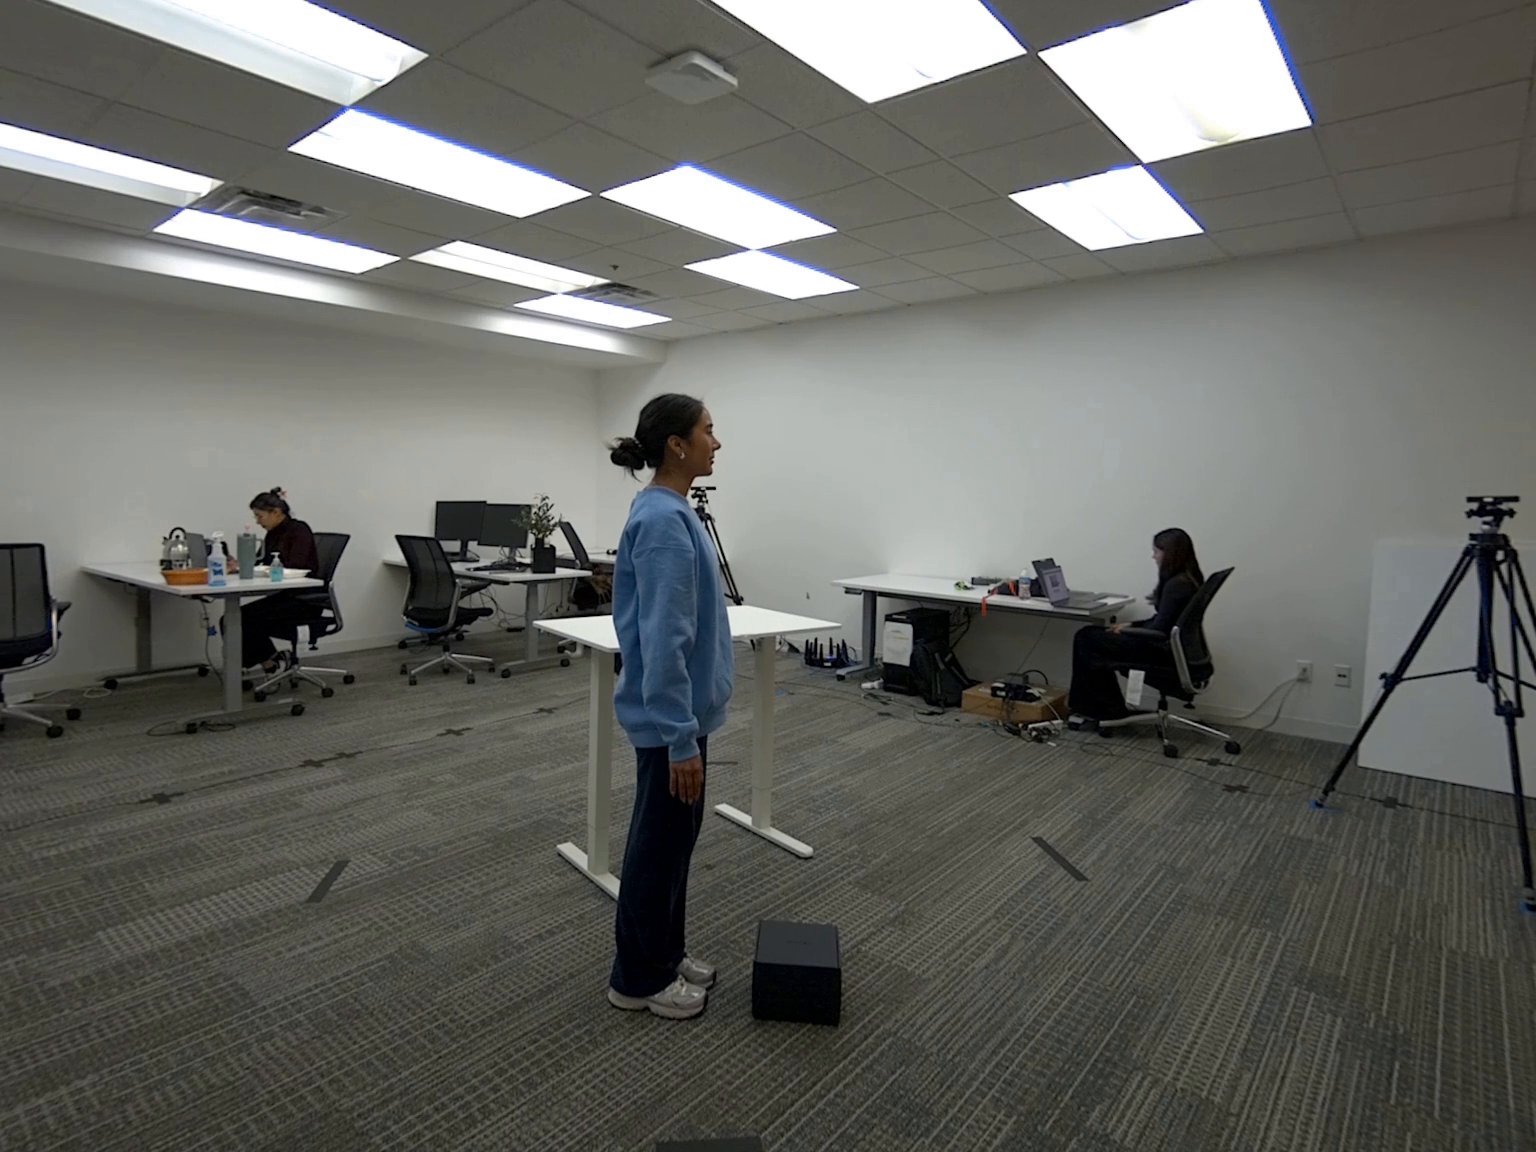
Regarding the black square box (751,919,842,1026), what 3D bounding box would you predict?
[{"bbox_3d":[0.074,1.076,2.302,0.229,0.155,0.217,2,6,4],"label":"black square box"}]
